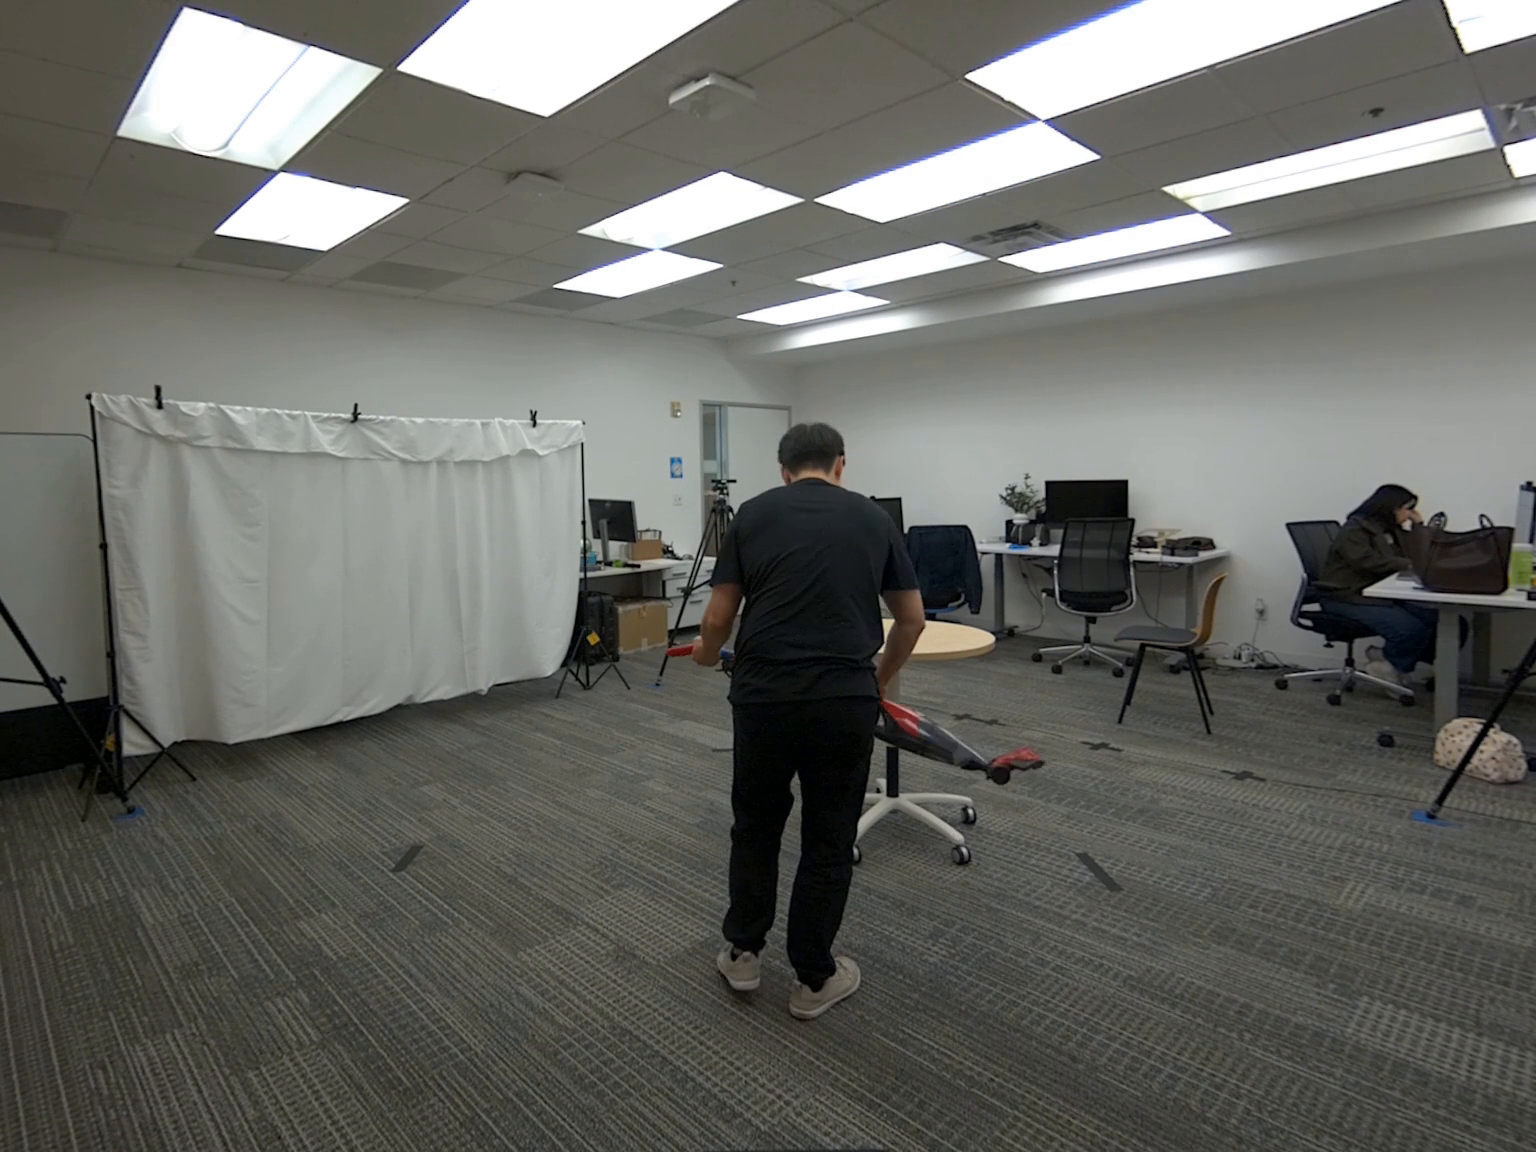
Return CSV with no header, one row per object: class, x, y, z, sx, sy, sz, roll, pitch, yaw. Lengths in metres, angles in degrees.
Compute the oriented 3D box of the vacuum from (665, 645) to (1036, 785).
vacuum,0.196,0.389,2.530,1.064,0.144,0.249,18,1,11
